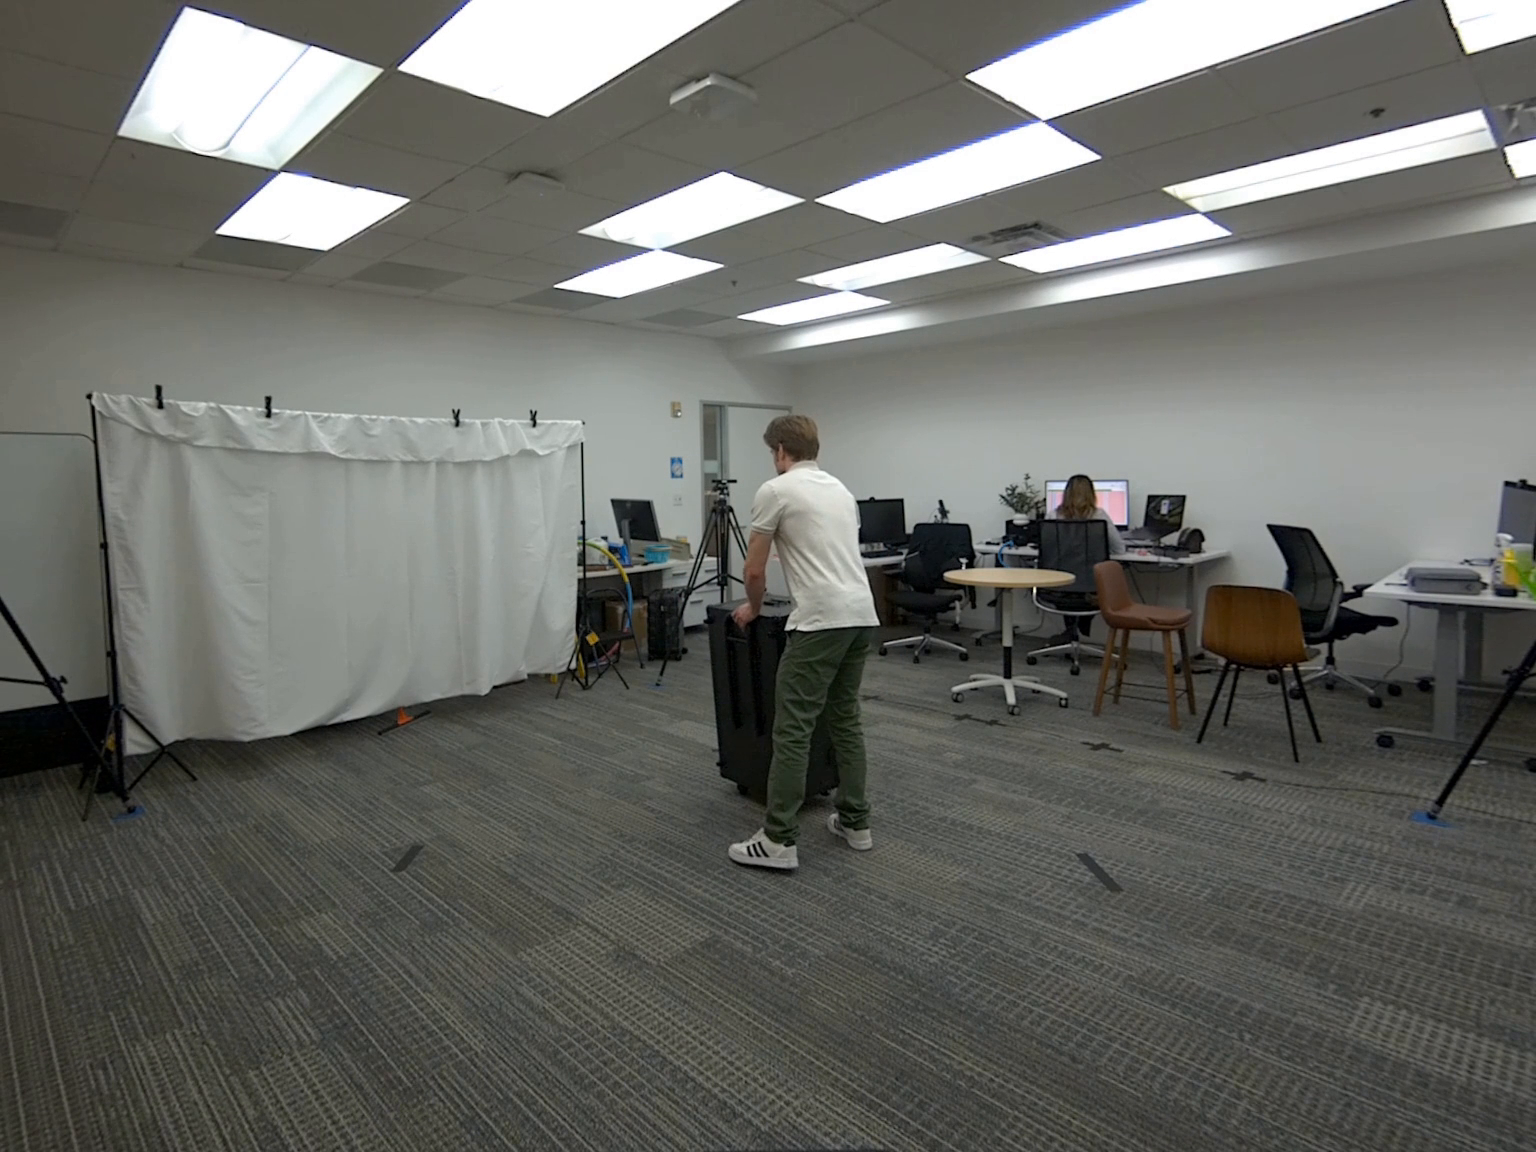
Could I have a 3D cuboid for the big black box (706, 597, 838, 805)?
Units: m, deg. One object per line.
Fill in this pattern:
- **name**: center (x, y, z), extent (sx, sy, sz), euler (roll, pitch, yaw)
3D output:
- **big black box**: center (0.044, 0.551, 3.724), extent (0.376, 0.864, 0.538), euler (-8, 7, -36)
